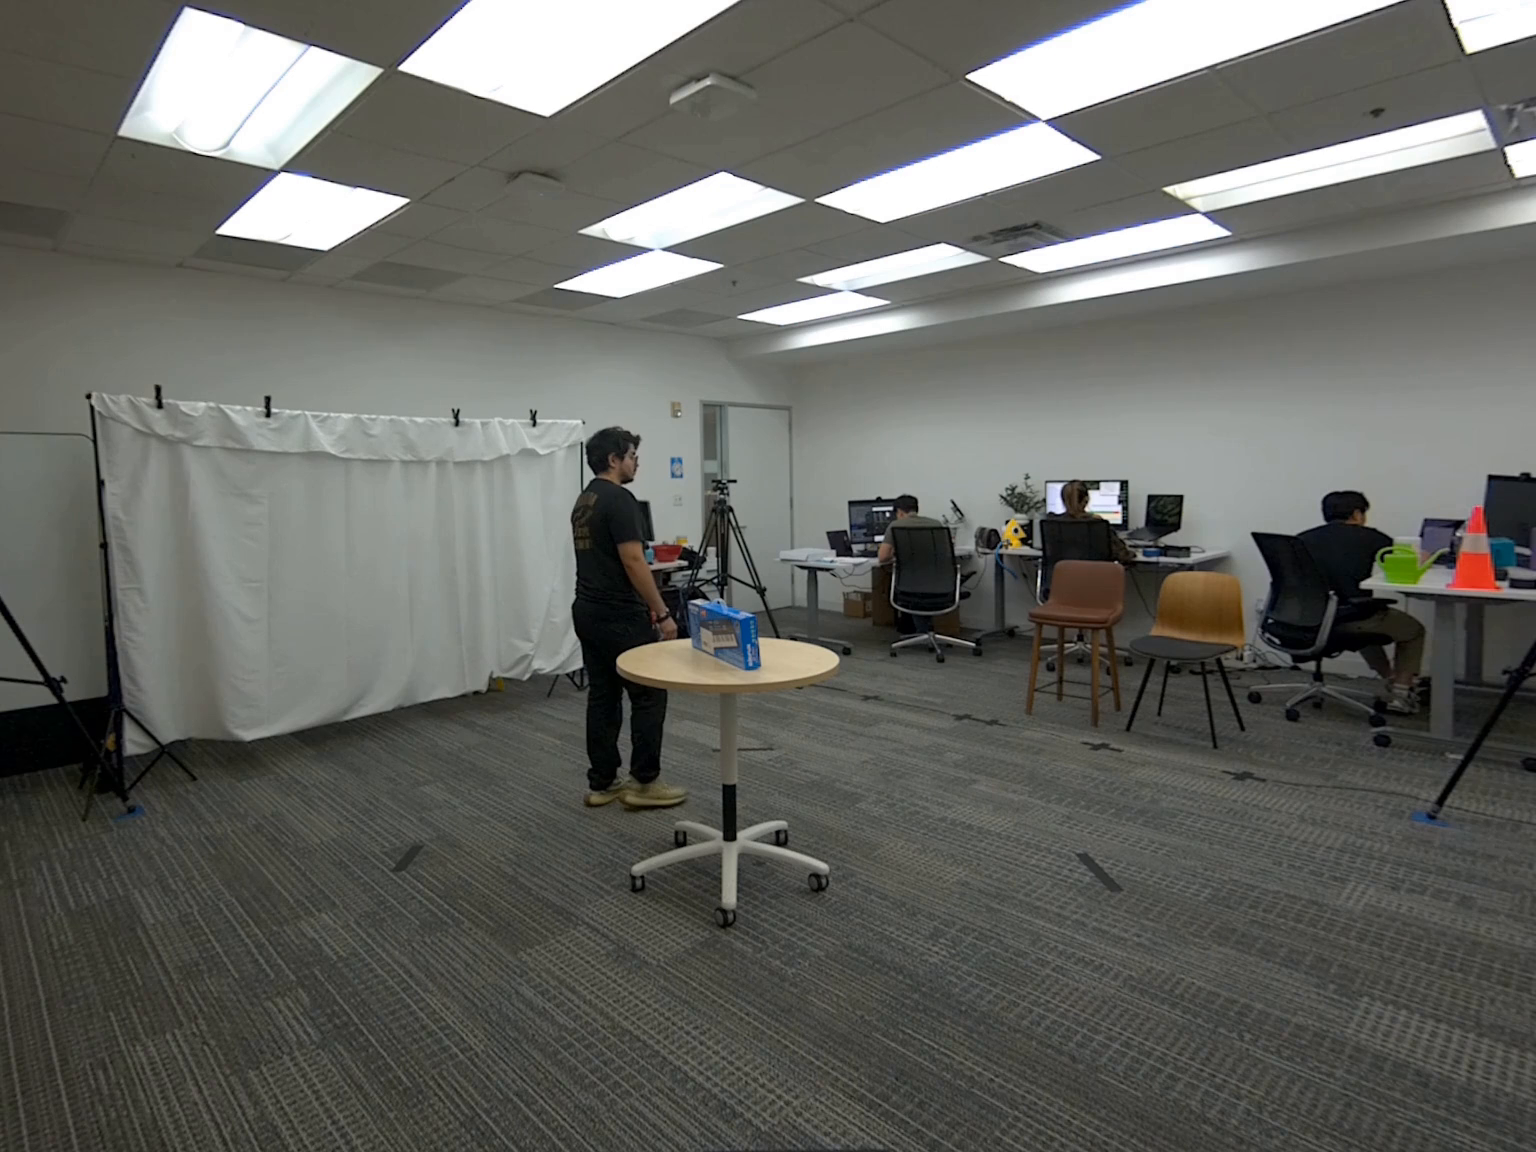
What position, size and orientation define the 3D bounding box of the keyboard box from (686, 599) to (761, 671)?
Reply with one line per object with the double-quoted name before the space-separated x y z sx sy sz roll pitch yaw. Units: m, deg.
"keyboard box" -0.157 0.197 2.946 0.058 0.175 0.448 -8 9 -26
